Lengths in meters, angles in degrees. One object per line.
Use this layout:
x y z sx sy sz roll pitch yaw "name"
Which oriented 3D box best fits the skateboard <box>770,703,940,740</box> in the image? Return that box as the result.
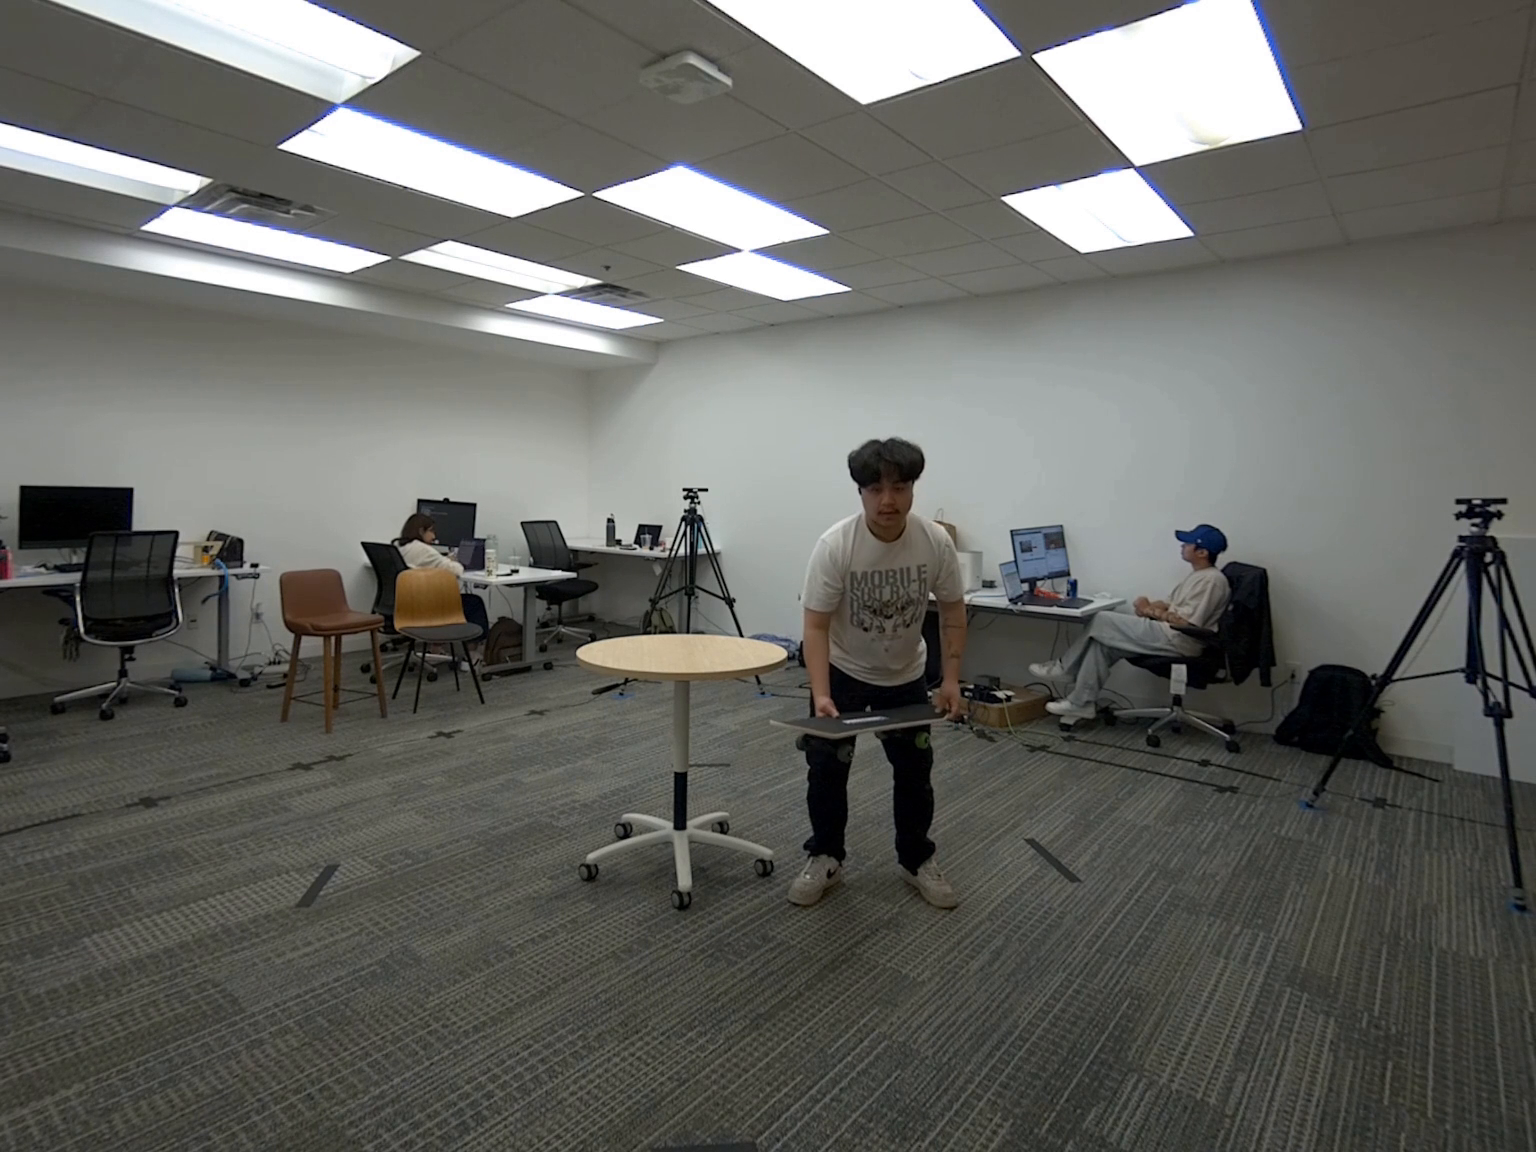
0.299 0.475 2.573 0.200 0.110 0.759 2 -1 45 "skateboard"
